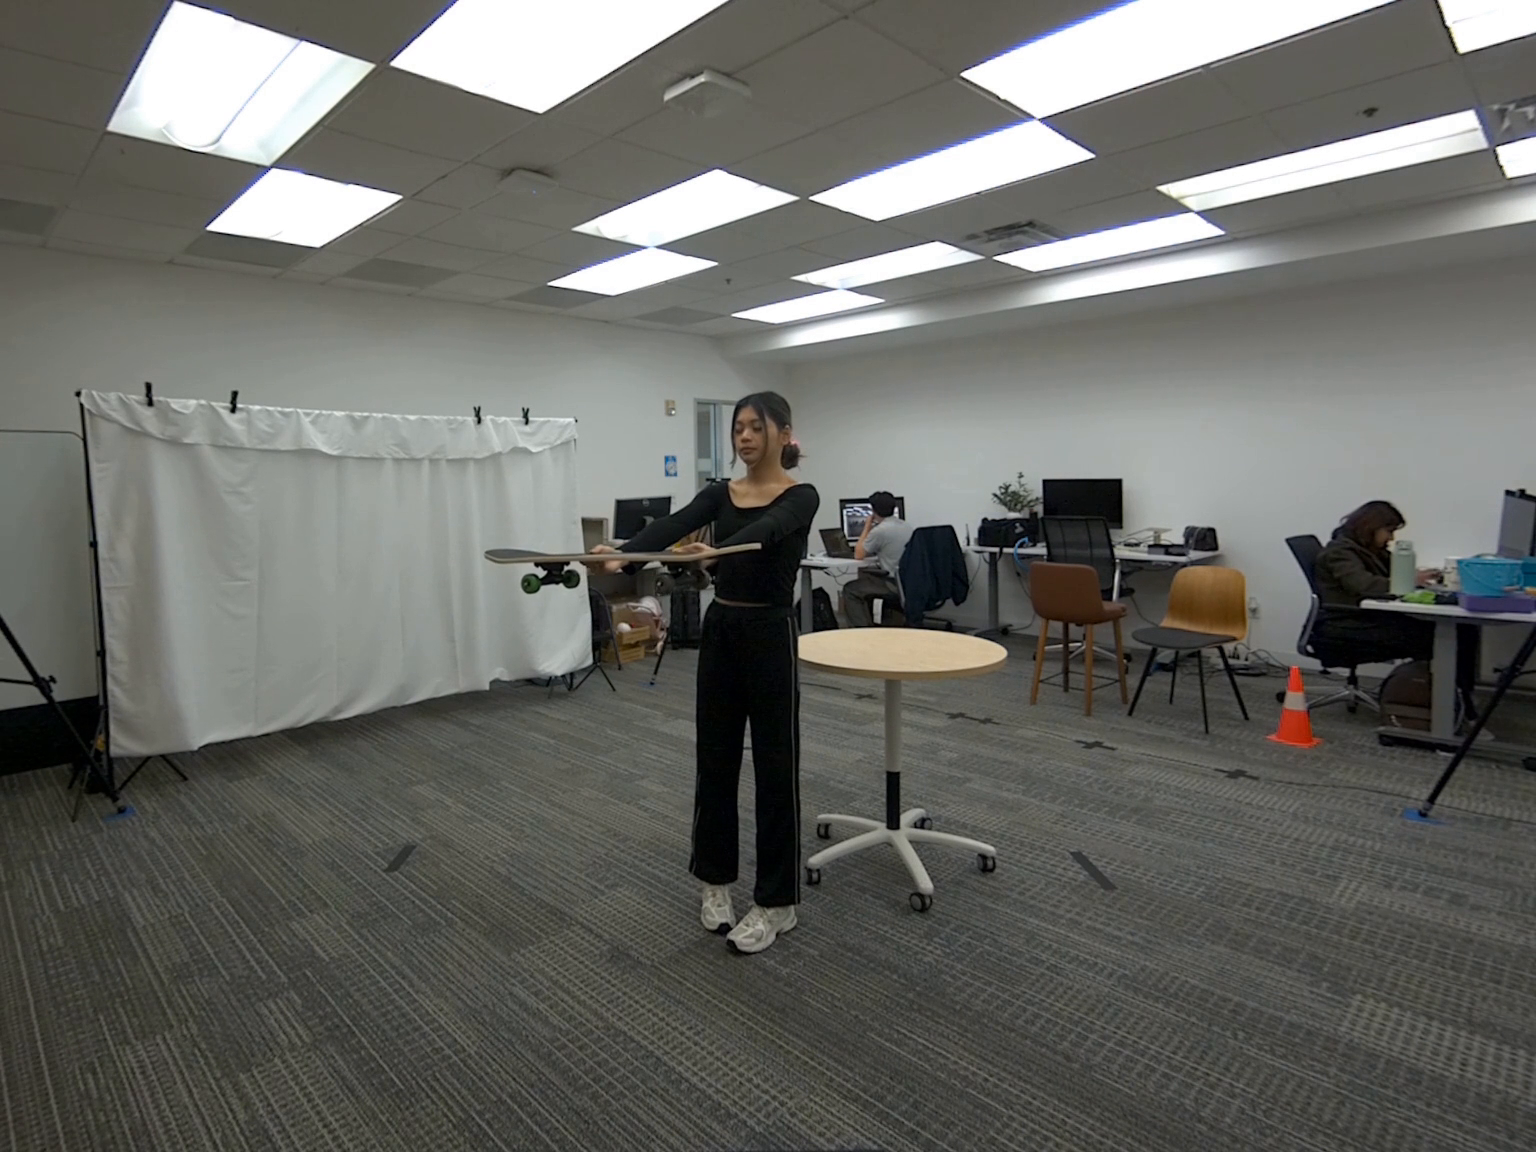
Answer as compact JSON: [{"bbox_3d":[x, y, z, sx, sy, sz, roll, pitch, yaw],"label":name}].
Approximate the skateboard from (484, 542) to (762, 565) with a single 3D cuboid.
[{"bbox_3d":[-0.368,-0.017,2.069,0.807,0.110,0.189,0,4,34],"label":"skateboard"}]
